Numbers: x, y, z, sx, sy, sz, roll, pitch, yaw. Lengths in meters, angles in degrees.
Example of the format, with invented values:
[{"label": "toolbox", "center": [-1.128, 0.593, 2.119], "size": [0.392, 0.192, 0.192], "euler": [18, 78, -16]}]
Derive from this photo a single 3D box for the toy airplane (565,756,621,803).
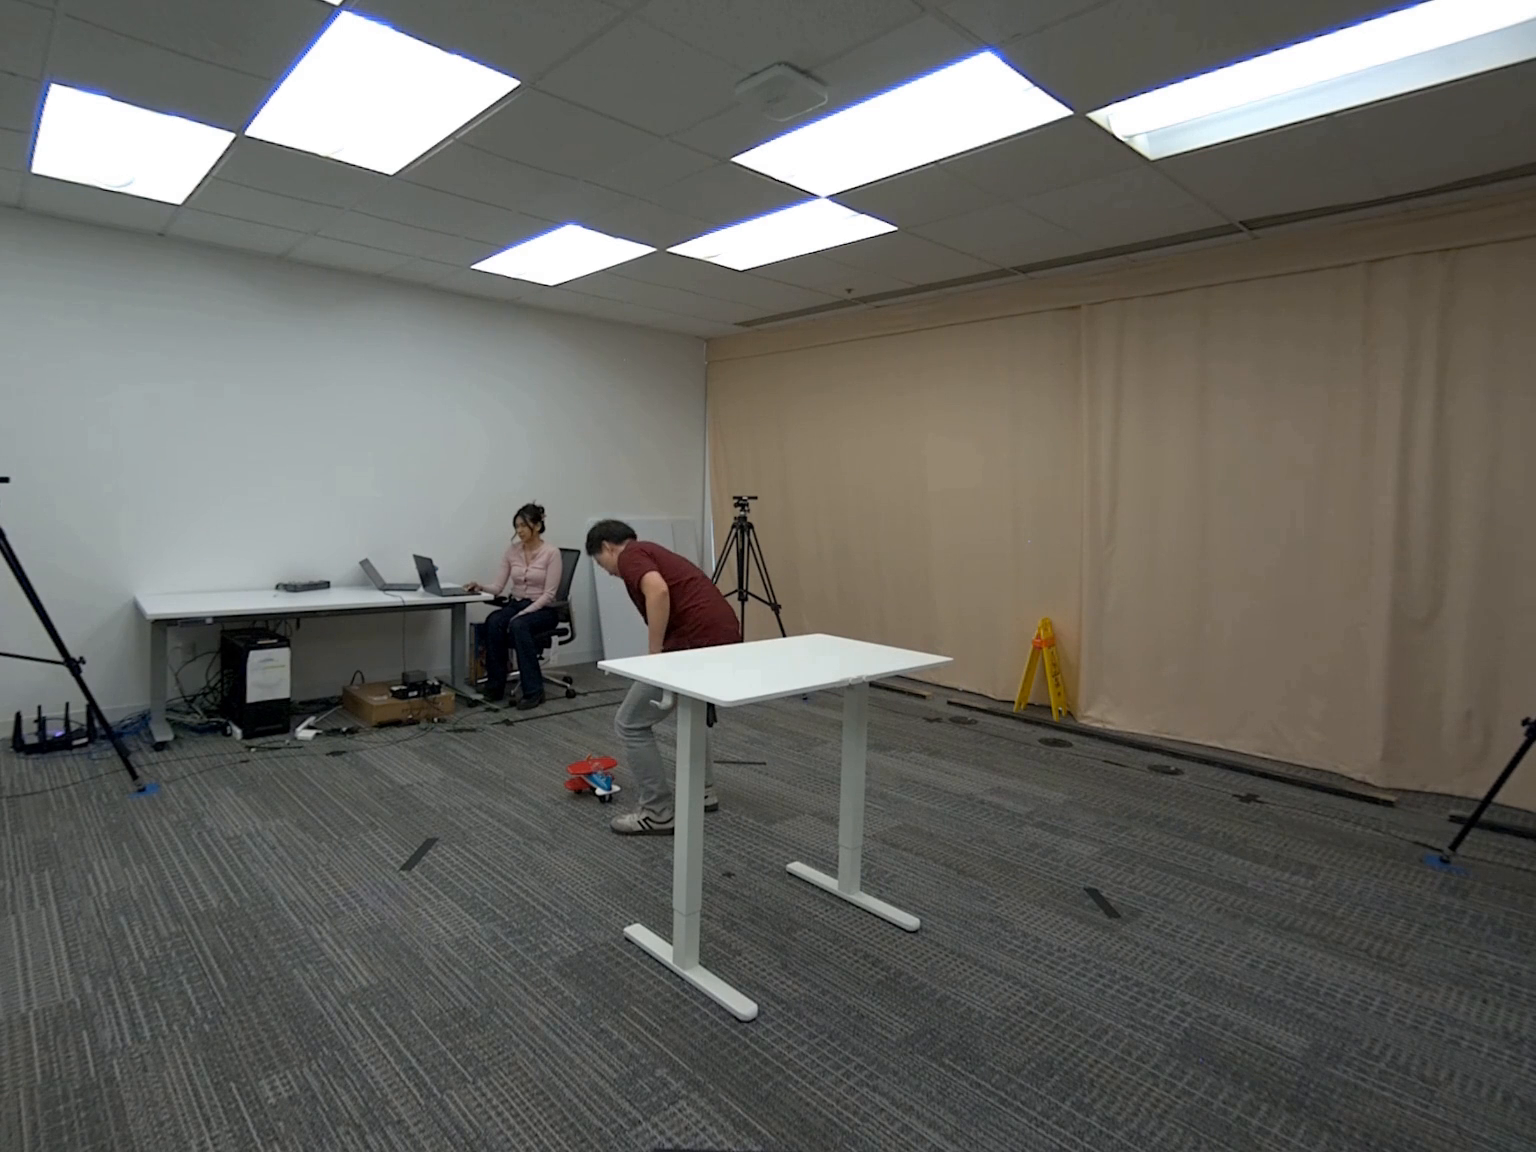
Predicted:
[{"label": "toy airplane", "center": [-0.802, 0.942, 3.900], "size": [0.263, 0.156, 0.248], "euler": [2, 5, 19]}]
